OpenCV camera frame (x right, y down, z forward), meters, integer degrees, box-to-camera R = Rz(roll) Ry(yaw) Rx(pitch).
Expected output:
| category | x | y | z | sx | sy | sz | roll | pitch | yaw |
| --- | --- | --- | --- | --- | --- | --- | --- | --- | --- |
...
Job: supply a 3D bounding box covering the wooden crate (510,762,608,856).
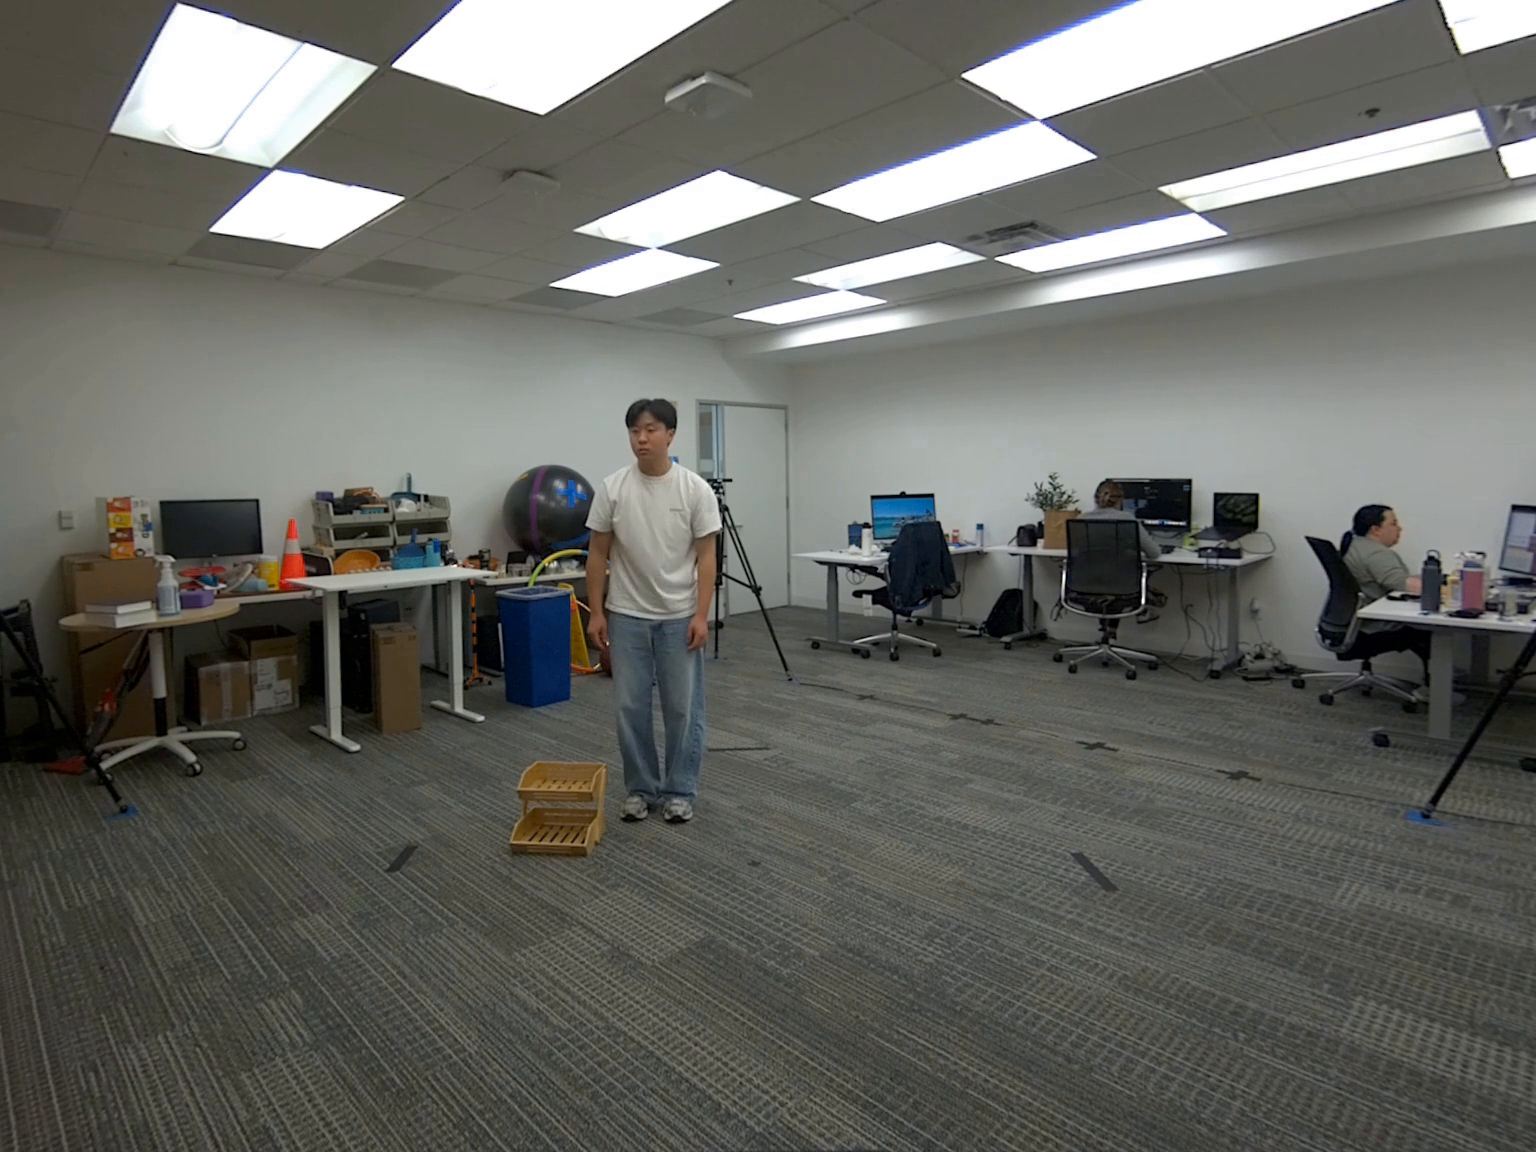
| category | x | y | z | sx | sy | sz | roll | pitch | yaw |
| --- | --- | --- | --- | --- | --- | --- | --- | --- | --- |
| wooden crate | -0.822 | 0.905 | 3.331 | 0.327 | 0.272 | 0.301 | -1 | 5 | 7 |
